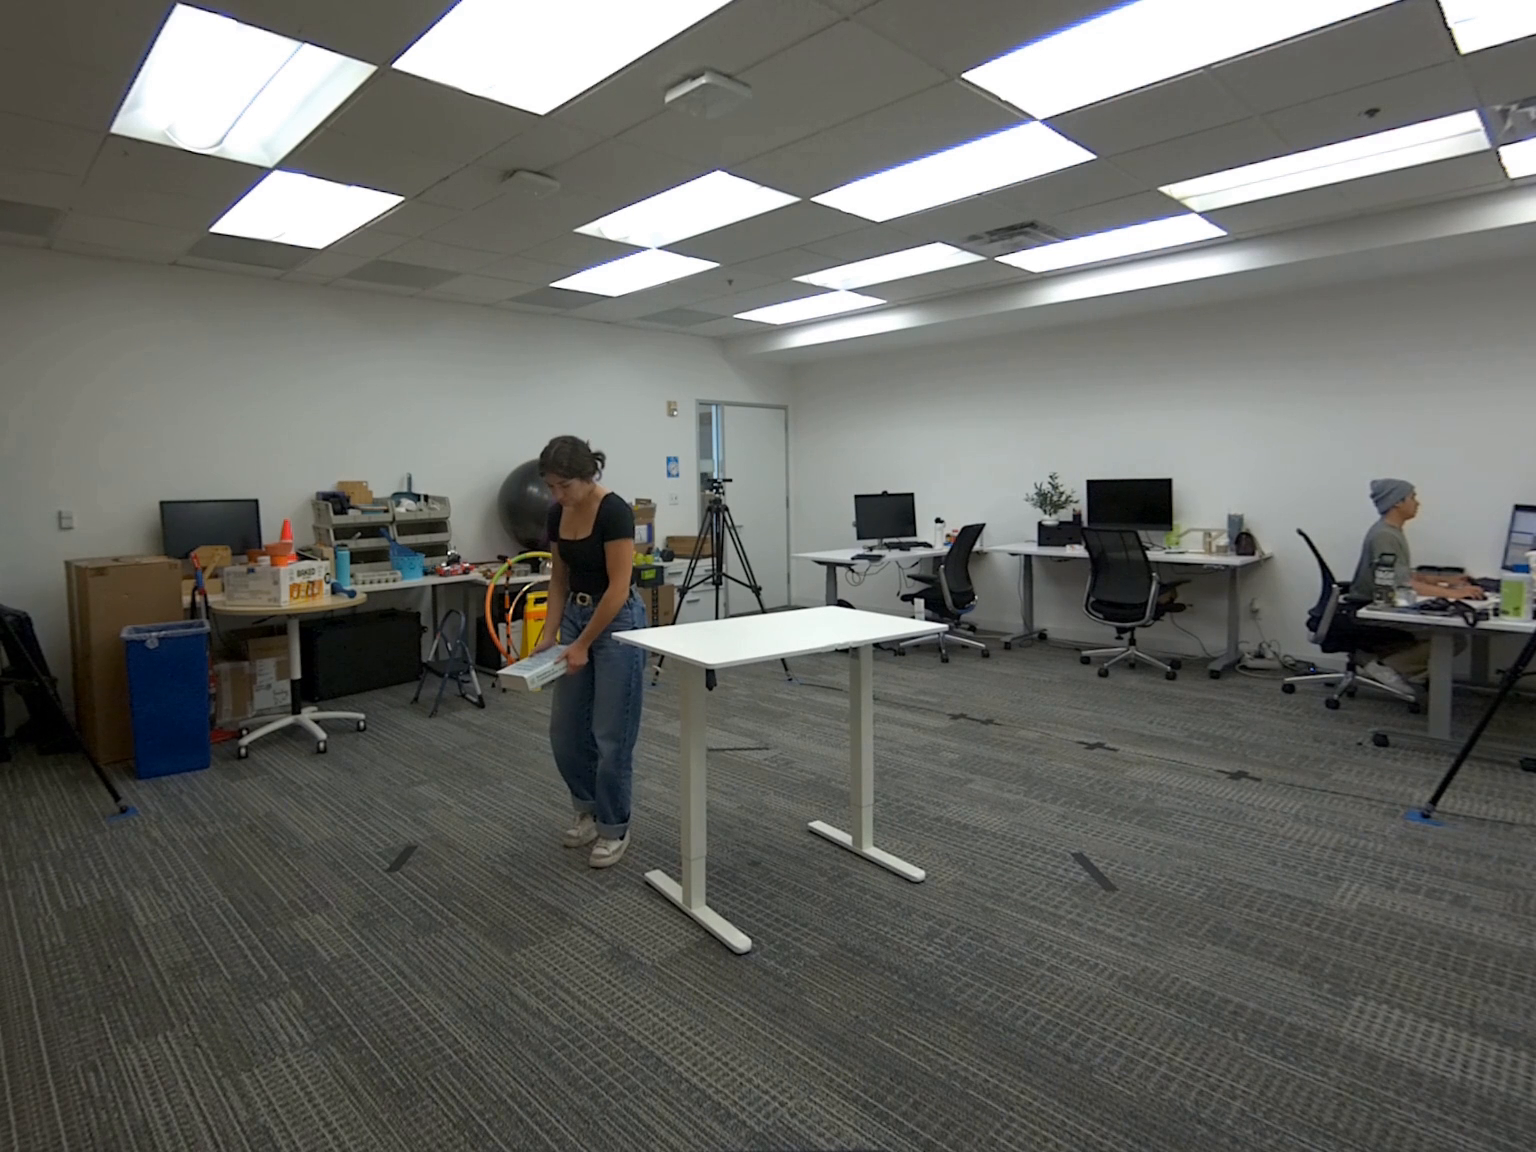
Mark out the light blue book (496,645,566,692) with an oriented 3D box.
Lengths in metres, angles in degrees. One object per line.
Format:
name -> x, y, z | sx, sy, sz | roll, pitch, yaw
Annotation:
light blue book -> -0.814, 0.330, 3.054 | 0.197, 0.058, 0.257 | -1, 18, 41
